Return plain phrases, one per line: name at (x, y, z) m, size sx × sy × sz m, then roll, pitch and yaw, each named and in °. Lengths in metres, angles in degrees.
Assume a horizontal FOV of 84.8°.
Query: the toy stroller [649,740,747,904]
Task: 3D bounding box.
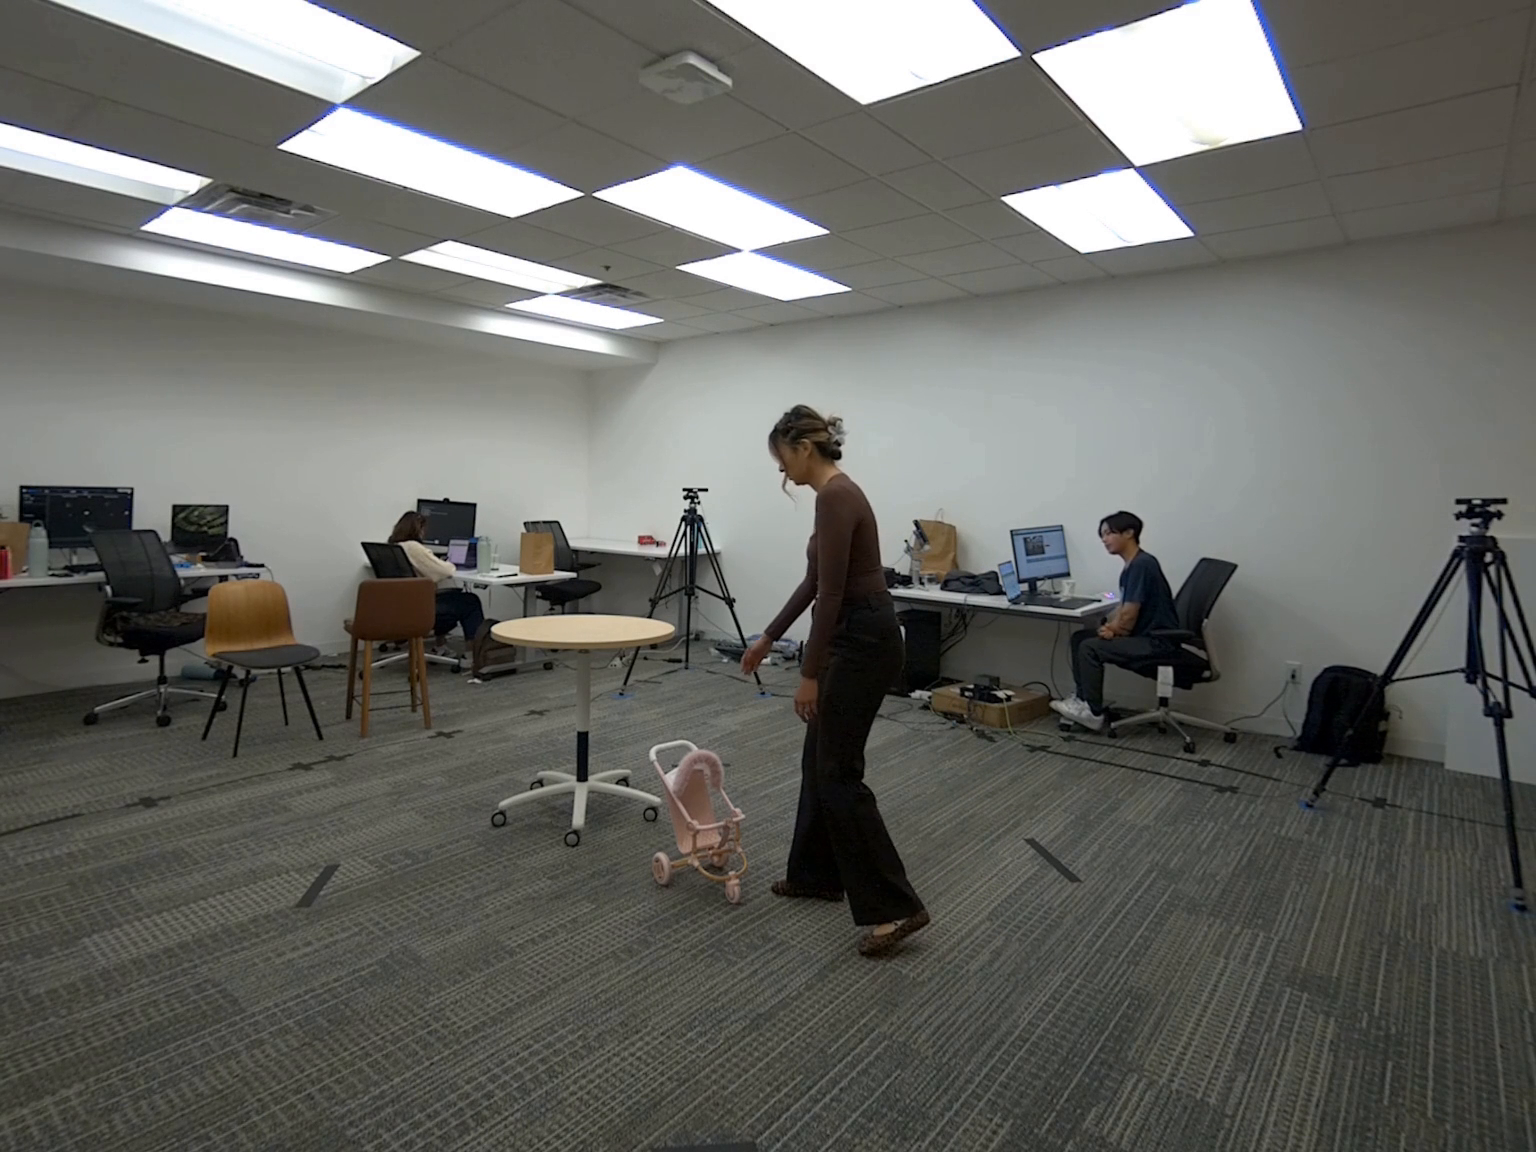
toy stroller at (-0.243, 0.852, 2.998) m, size 0.273 × 0.541 × 0.348 m, roll -1°, pitch -11°, yaw -35°
